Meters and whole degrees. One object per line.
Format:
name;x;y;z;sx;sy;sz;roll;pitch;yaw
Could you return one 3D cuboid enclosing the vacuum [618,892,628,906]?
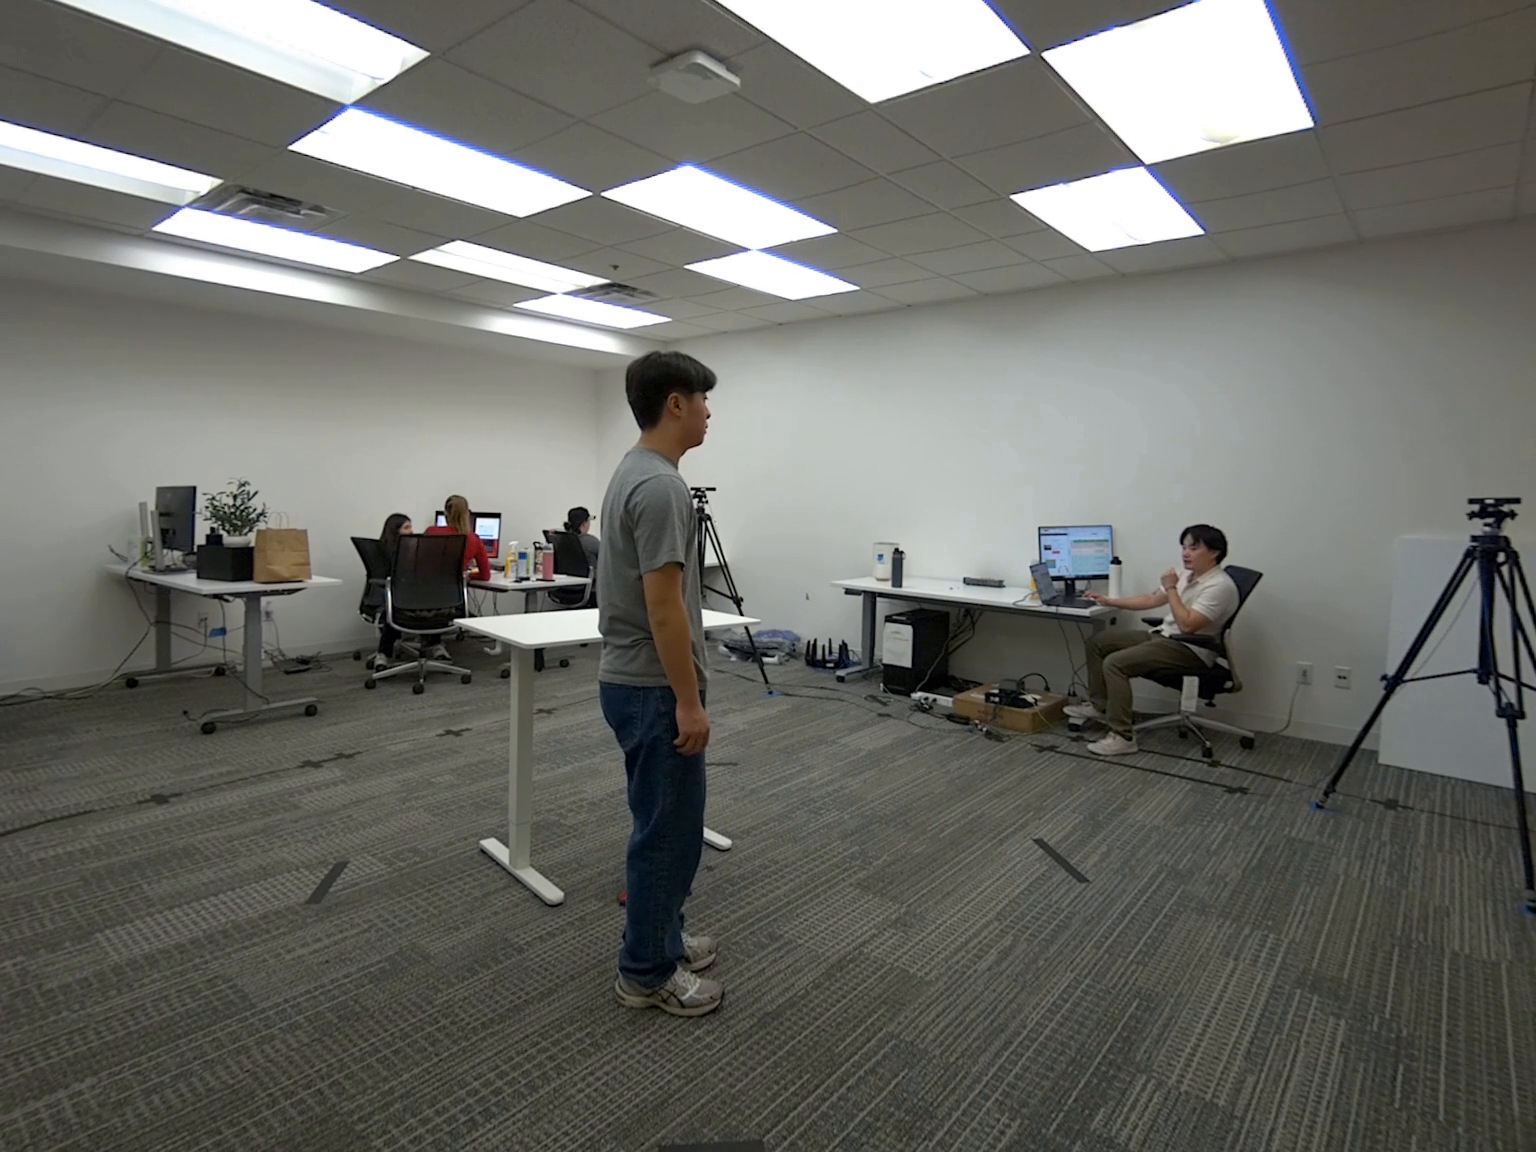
vacuum;-0.410;0.553;2.925;0.248;1.050;0.146;2;-1;-15
